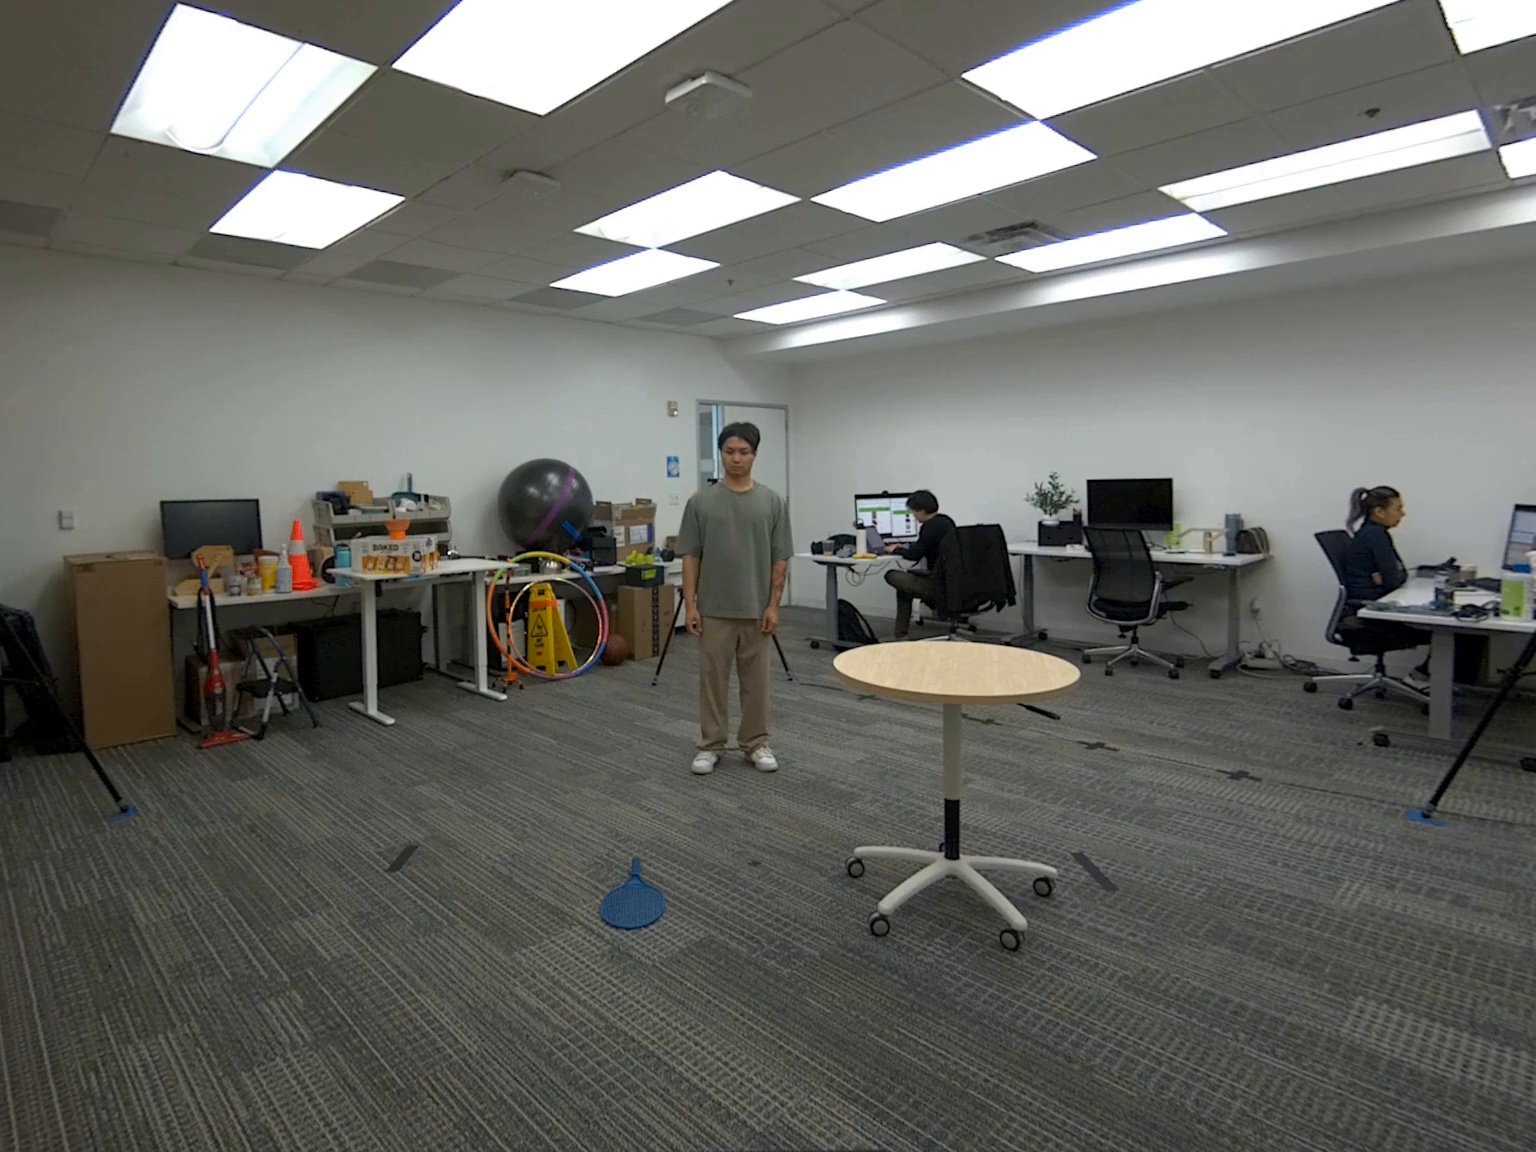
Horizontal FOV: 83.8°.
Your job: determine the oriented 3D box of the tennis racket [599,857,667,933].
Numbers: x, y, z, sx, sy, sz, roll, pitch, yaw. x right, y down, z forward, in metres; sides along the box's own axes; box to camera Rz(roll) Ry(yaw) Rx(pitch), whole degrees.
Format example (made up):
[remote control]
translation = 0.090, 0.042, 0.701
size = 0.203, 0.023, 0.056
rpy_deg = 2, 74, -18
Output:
[tennis racket]
translation = -0.447, 1.062, 2.882
size = 0.212, 0.031, 0.438
rpy_deg = -3, 8, -7
